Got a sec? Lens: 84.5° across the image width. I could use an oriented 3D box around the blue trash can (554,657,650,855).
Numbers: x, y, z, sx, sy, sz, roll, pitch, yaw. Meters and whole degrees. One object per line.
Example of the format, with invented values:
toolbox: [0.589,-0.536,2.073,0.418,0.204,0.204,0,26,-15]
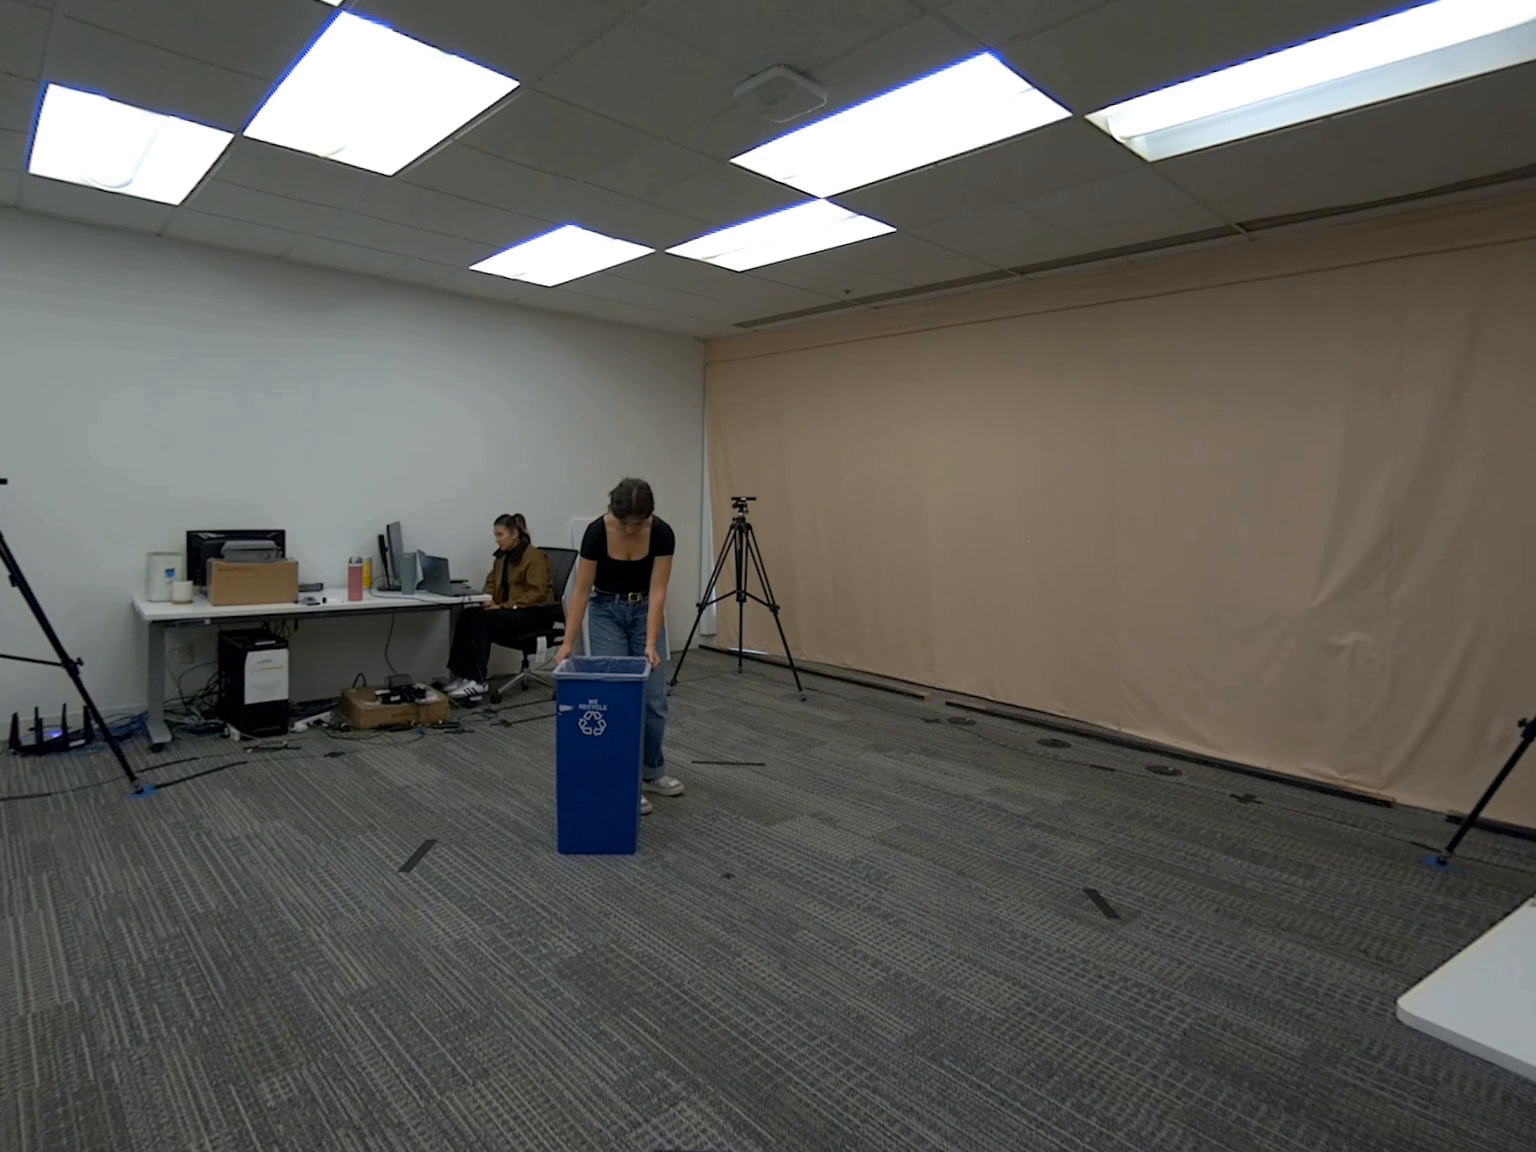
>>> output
blue trash can: [-0.673,0.714,3.398,0.373,0.712,0.380,1,3,-3]
